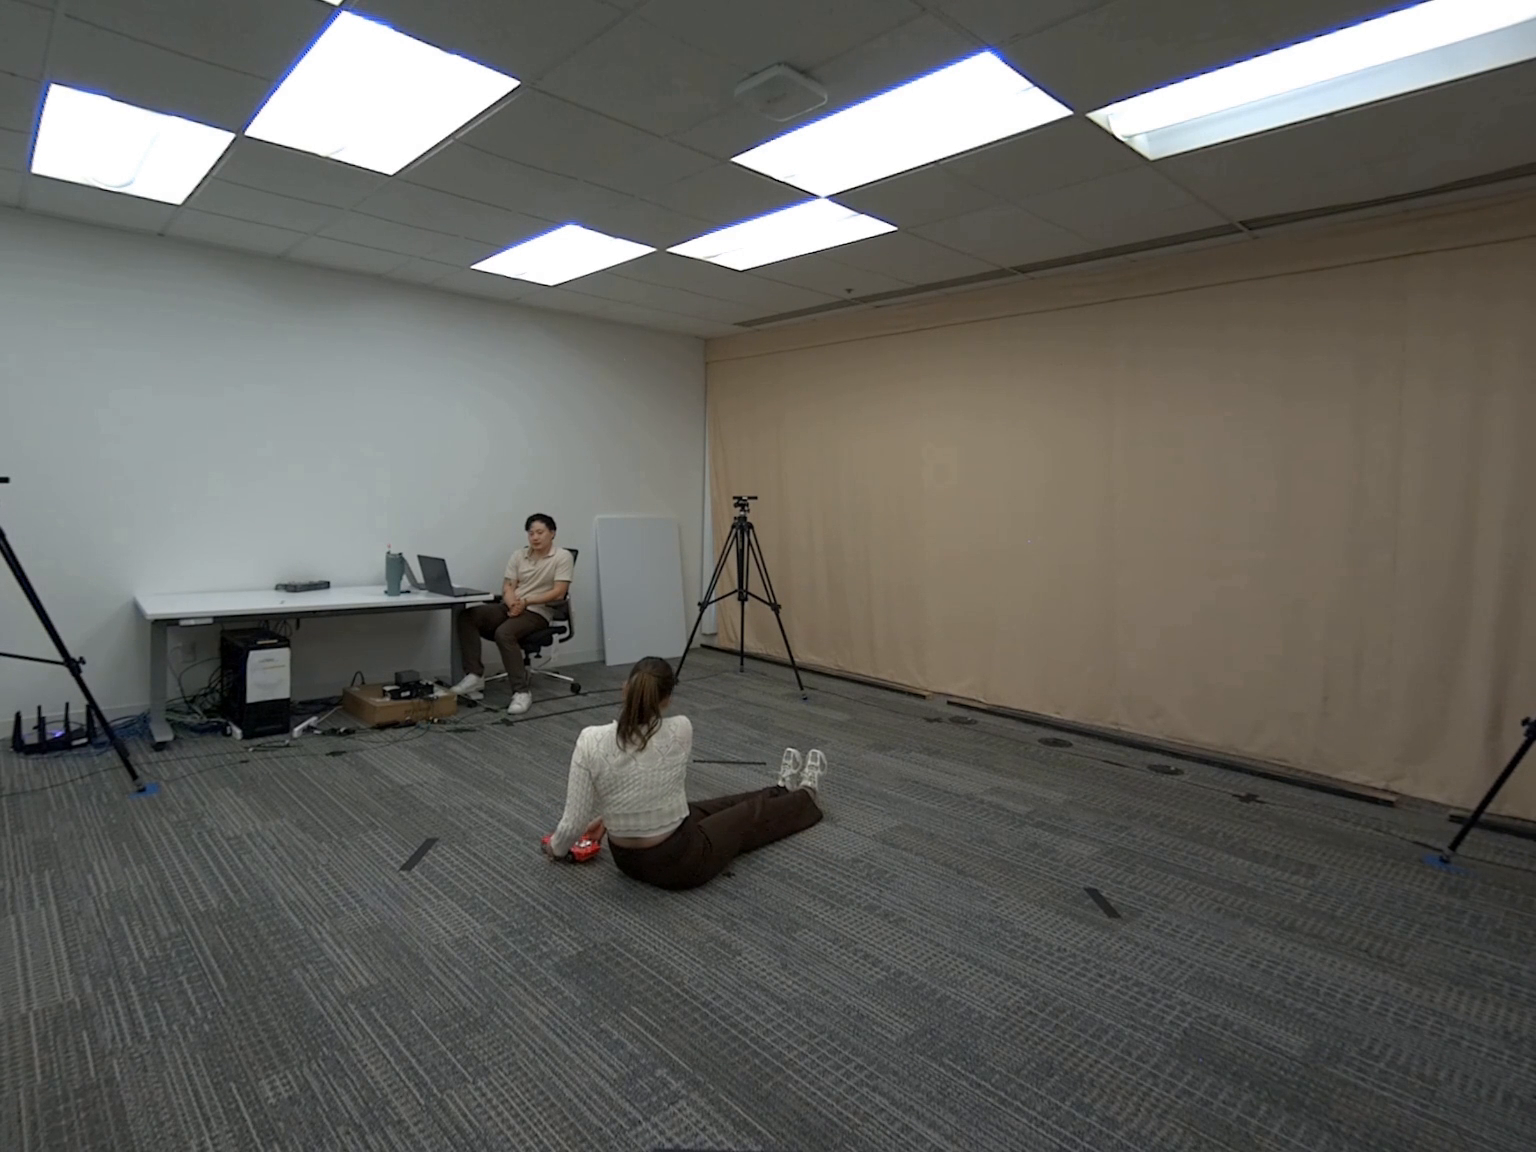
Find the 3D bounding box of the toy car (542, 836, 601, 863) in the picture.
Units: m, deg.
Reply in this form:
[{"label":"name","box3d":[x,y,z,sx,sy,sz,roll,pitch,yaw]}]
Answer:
[{"label":"toy car","box3d":[-0.759,1.040,3.238,0.259,0.083,0.127,-8,-2,36]}]
